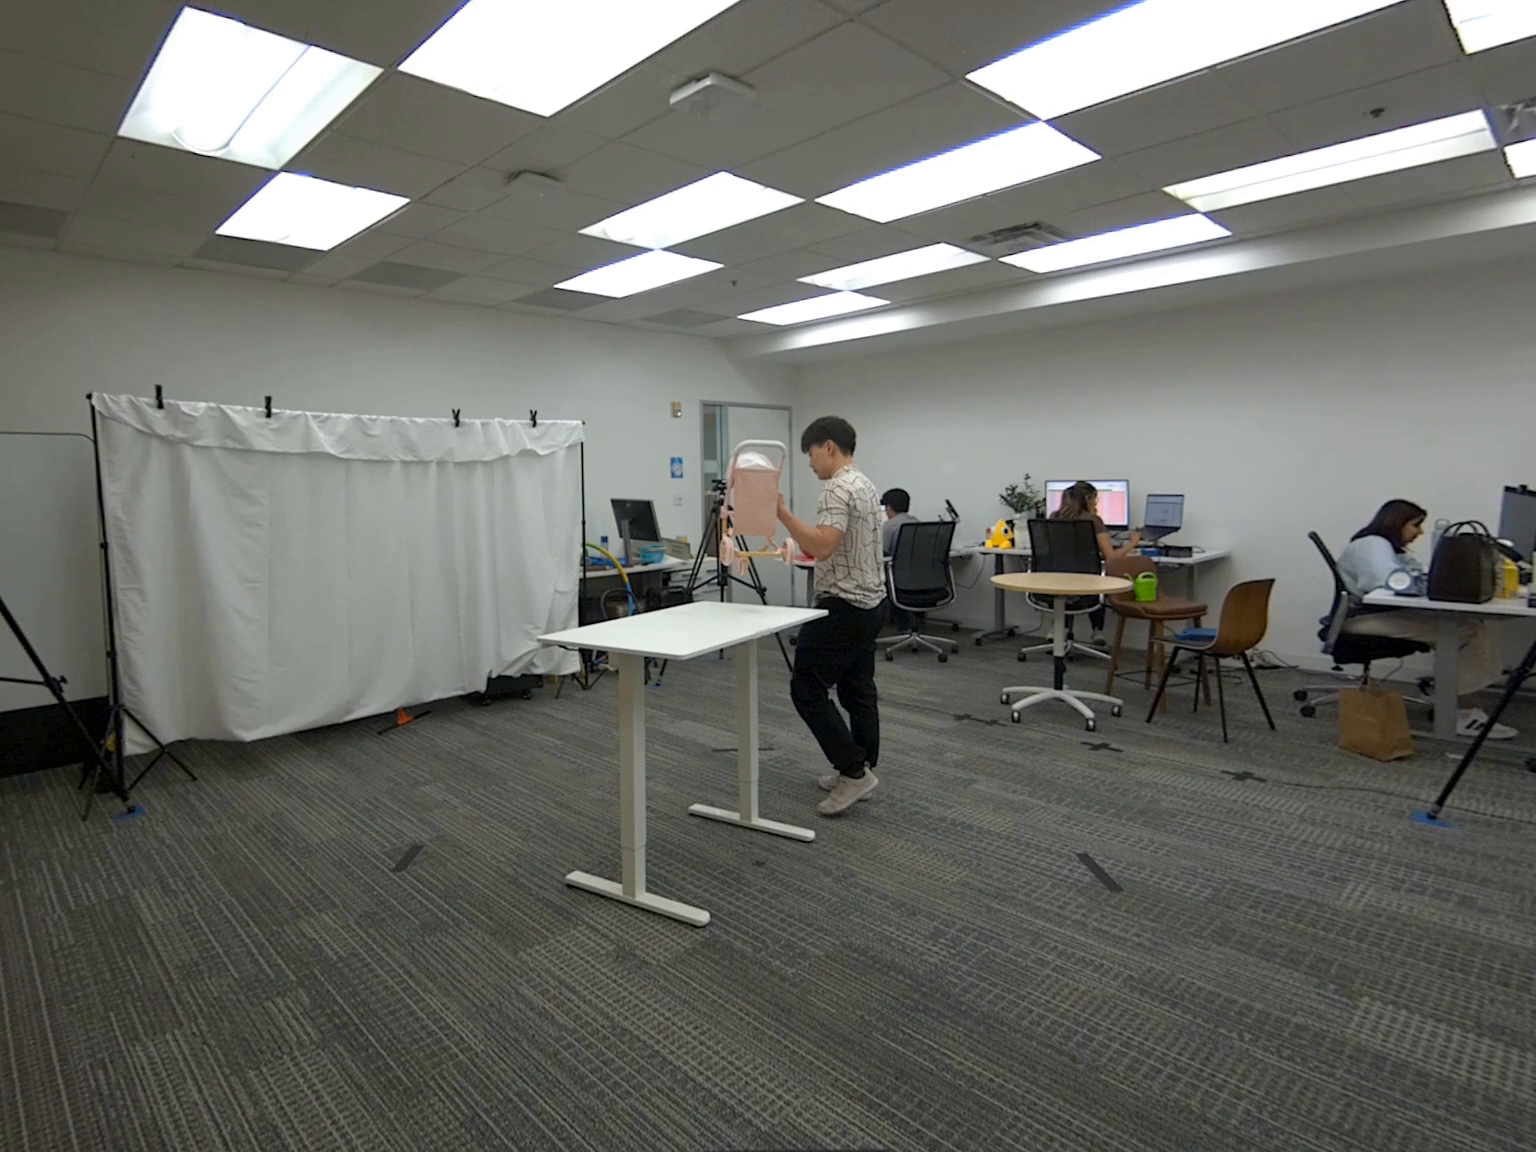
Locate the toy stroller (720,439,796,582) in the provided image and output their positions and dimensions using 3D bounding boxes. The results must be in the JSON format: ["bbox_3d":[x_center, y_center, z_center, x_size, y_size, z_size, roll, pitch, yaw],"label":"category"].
[{"bbox_3d":[-0.064,-0.257,3.418,0.278,0.534,0.345,-1,1,-12],"label":"toy stroller"}]
